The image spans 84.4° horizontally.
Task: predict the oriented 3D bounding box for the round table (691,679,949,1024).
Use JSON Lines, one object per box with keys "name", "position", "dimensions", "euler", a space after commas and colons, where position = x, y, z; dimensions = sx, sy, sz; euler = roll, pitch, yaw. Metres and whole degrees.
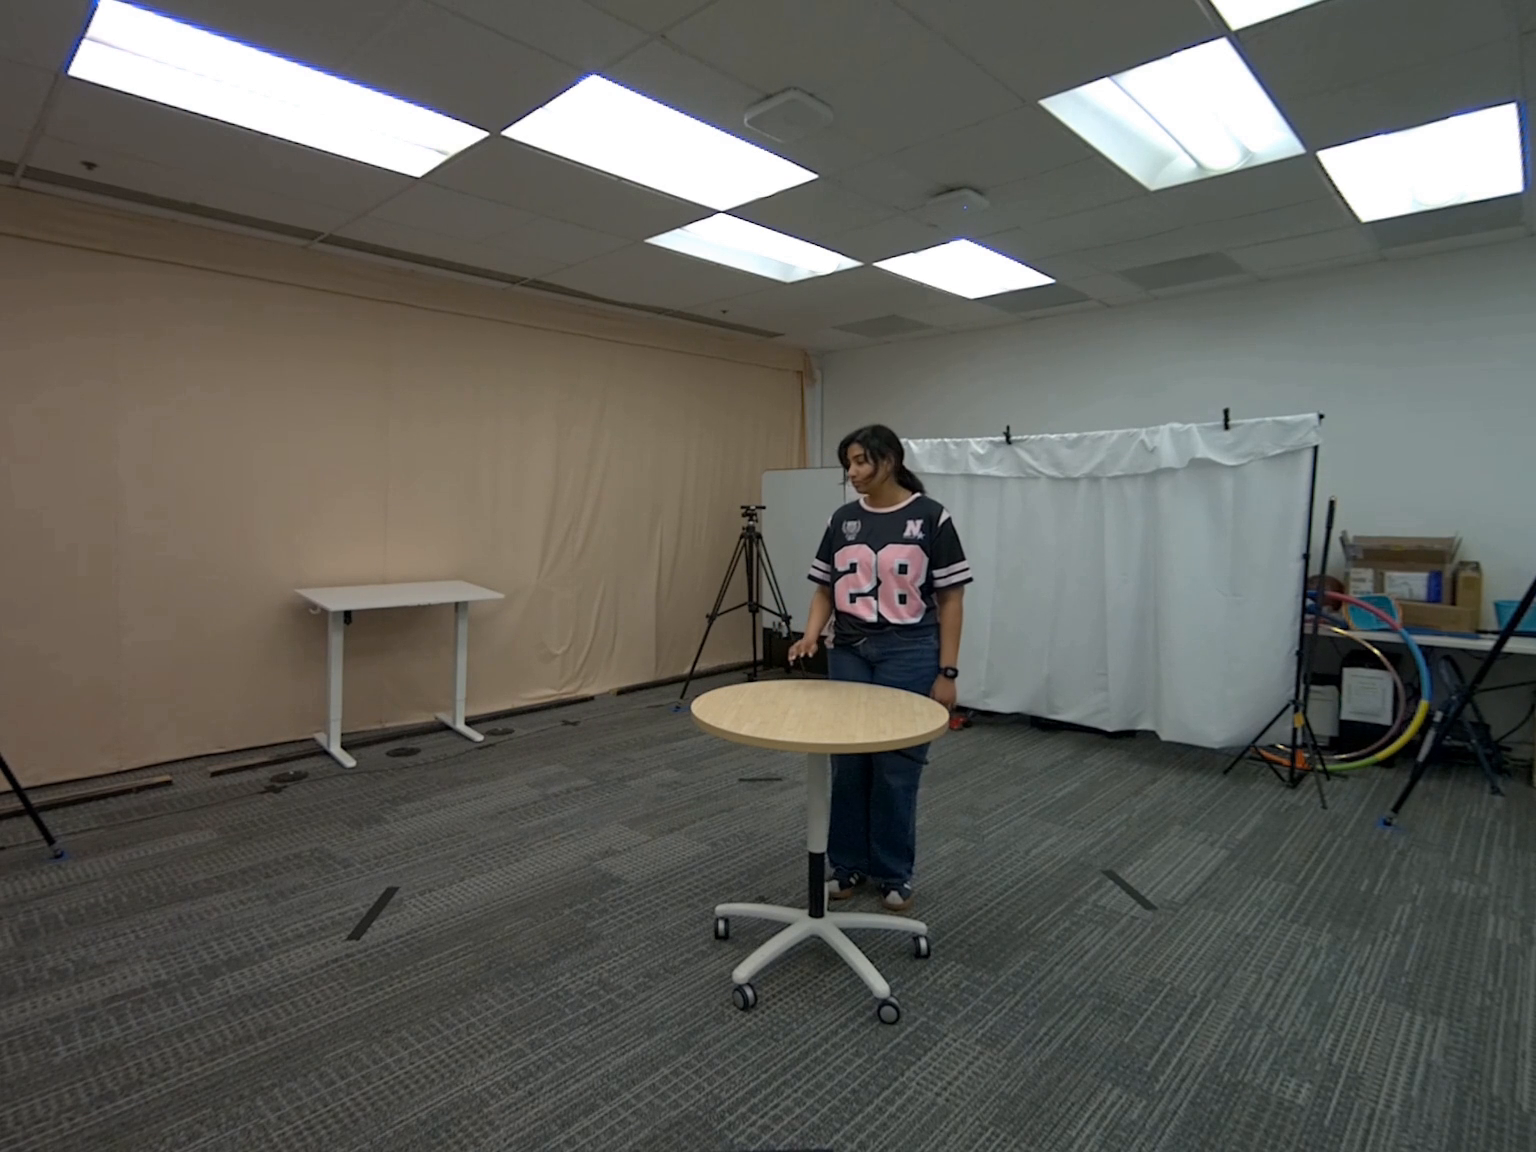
{"name": "round table", "position": [0.160, 0.789, 2.552], "dimensions": [0.784, 0.785, 0.788], "euler": [0, 4, -2]}
